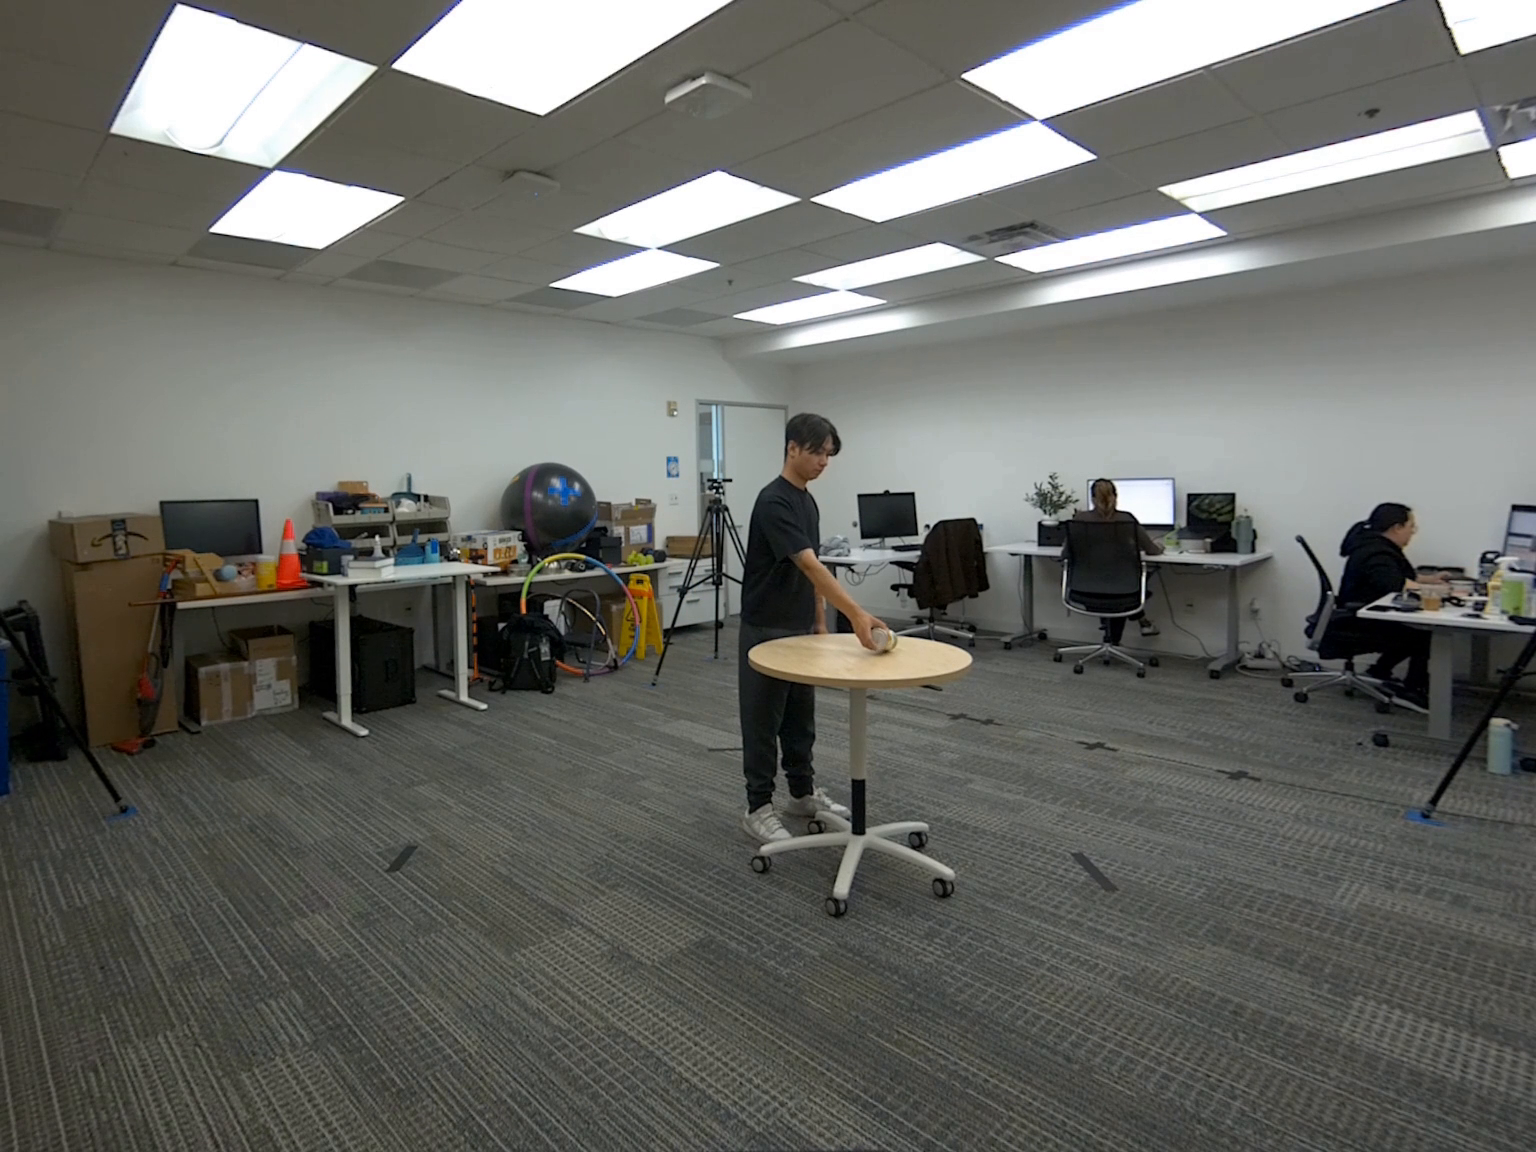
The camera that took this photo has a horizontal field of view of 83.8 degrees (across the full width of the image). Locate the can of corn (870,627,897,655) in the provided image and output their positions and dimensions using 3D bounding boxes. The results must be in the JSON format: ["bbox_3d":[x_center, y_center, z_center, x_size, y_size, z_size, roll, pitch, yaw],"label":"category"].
[{"bbox_3d":[0.405,0.222,2.988,0.076,0.074,0.108,1,-3,25],"label":"can of corn"}]
